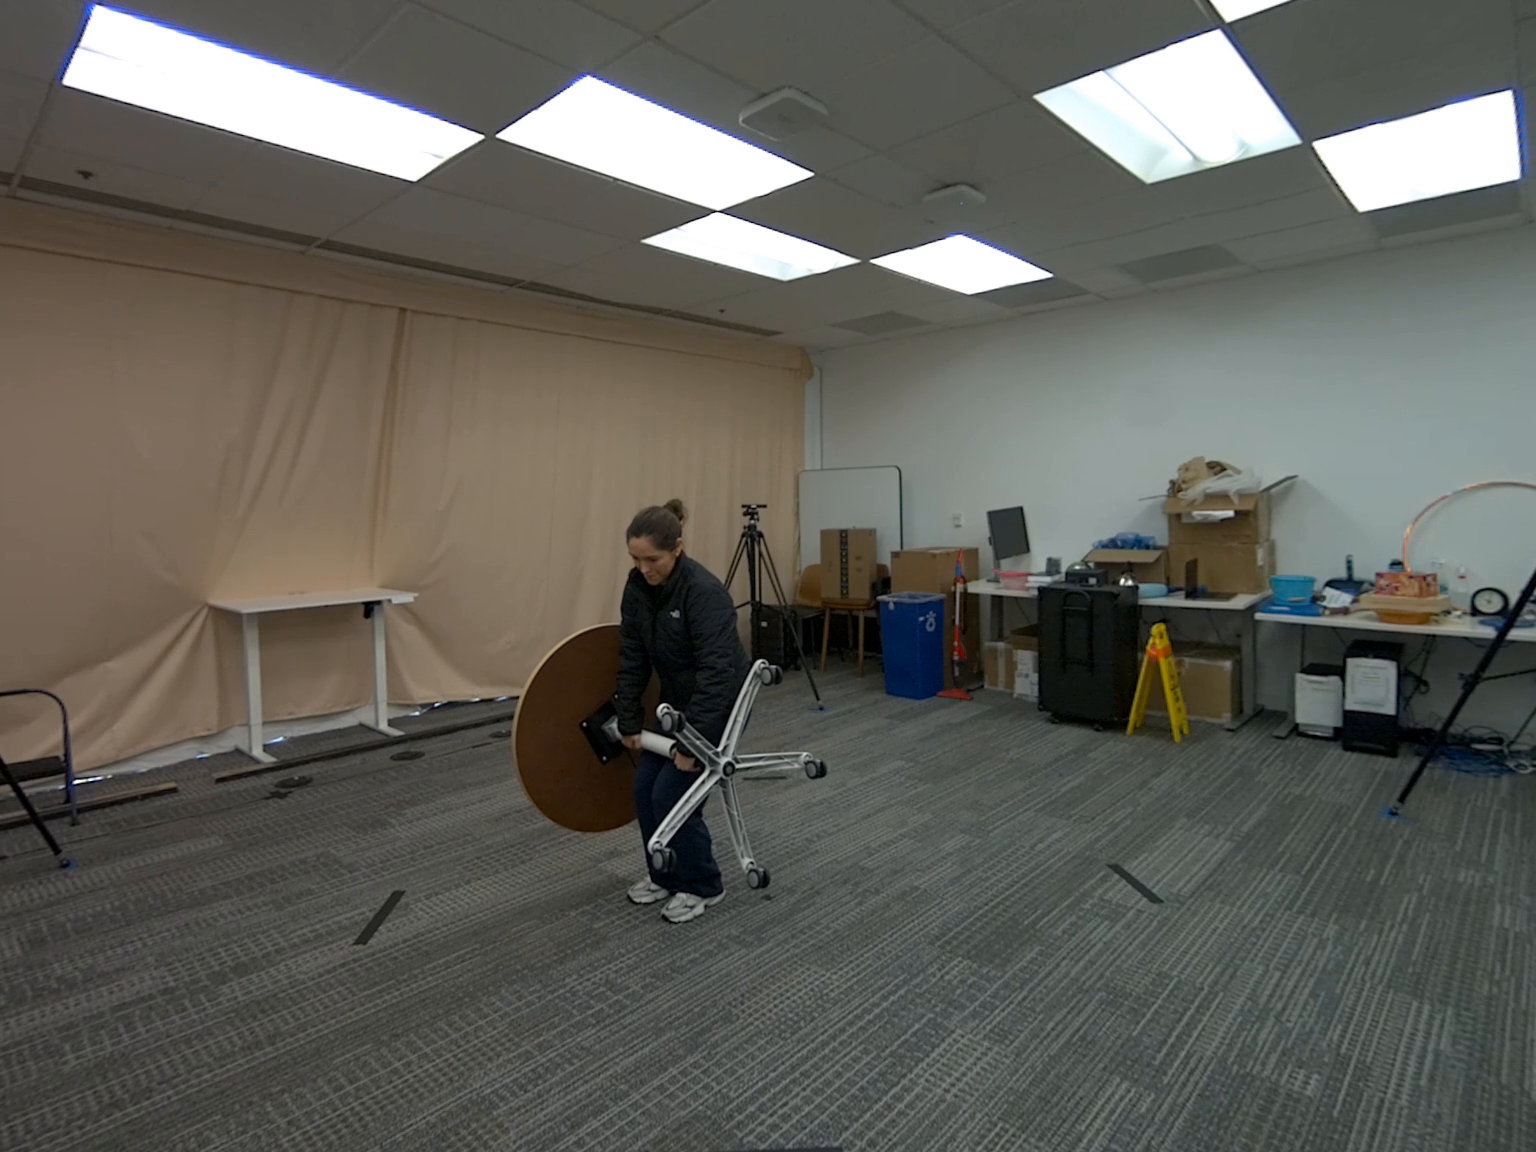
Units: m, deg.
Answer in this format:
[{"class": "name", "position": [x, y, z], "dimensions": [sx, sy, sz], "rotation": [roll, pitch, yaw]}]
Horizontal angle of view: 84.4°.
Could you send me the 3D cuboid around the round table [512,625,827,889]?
[{"class": "round table", "position": [-0.310, 0.589, 2.837], "dimensions": [0.761, 0.783, 0.812], "rotation": [-4, 5, -41]}]
